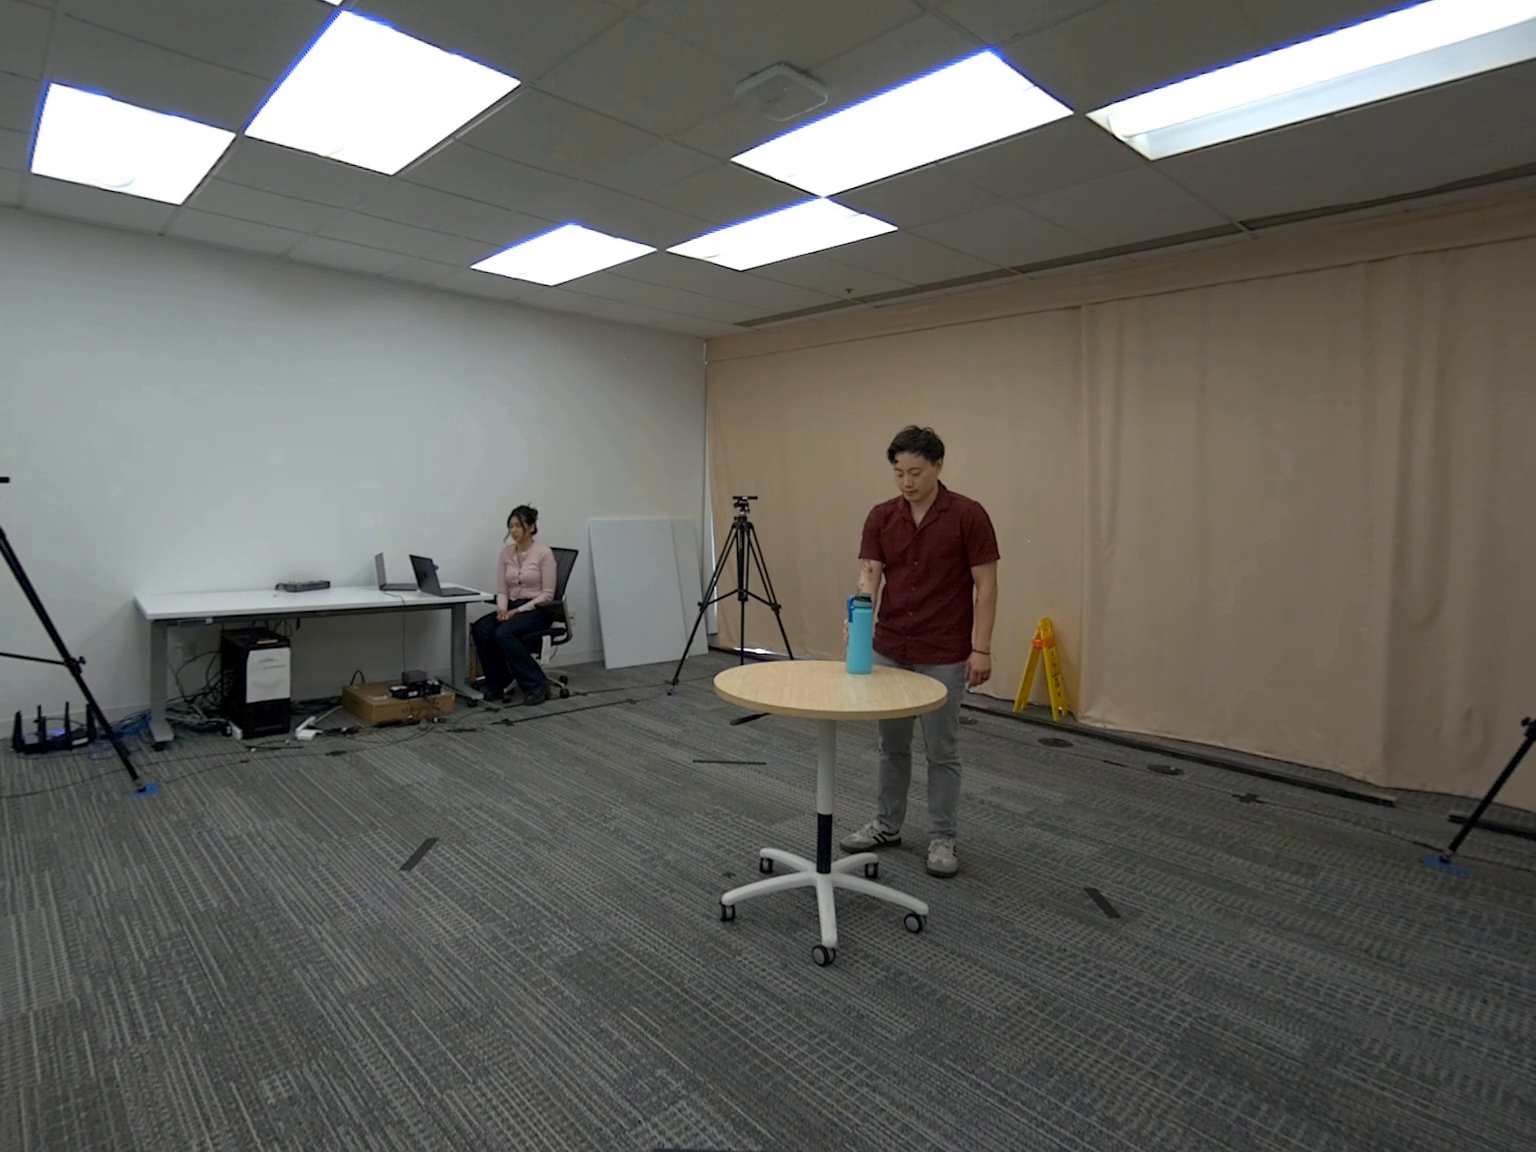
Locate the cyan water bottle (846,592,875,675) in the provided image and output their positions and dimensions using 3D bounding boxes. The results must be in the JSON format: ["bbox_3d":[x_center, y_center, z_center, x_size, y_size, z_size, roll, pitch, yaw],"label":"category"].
[{"bbox_3d":[0.319,0.196,2.978,0.092,0.282,0.093,0,4,-1],"label":"cyan water bottle"}]
